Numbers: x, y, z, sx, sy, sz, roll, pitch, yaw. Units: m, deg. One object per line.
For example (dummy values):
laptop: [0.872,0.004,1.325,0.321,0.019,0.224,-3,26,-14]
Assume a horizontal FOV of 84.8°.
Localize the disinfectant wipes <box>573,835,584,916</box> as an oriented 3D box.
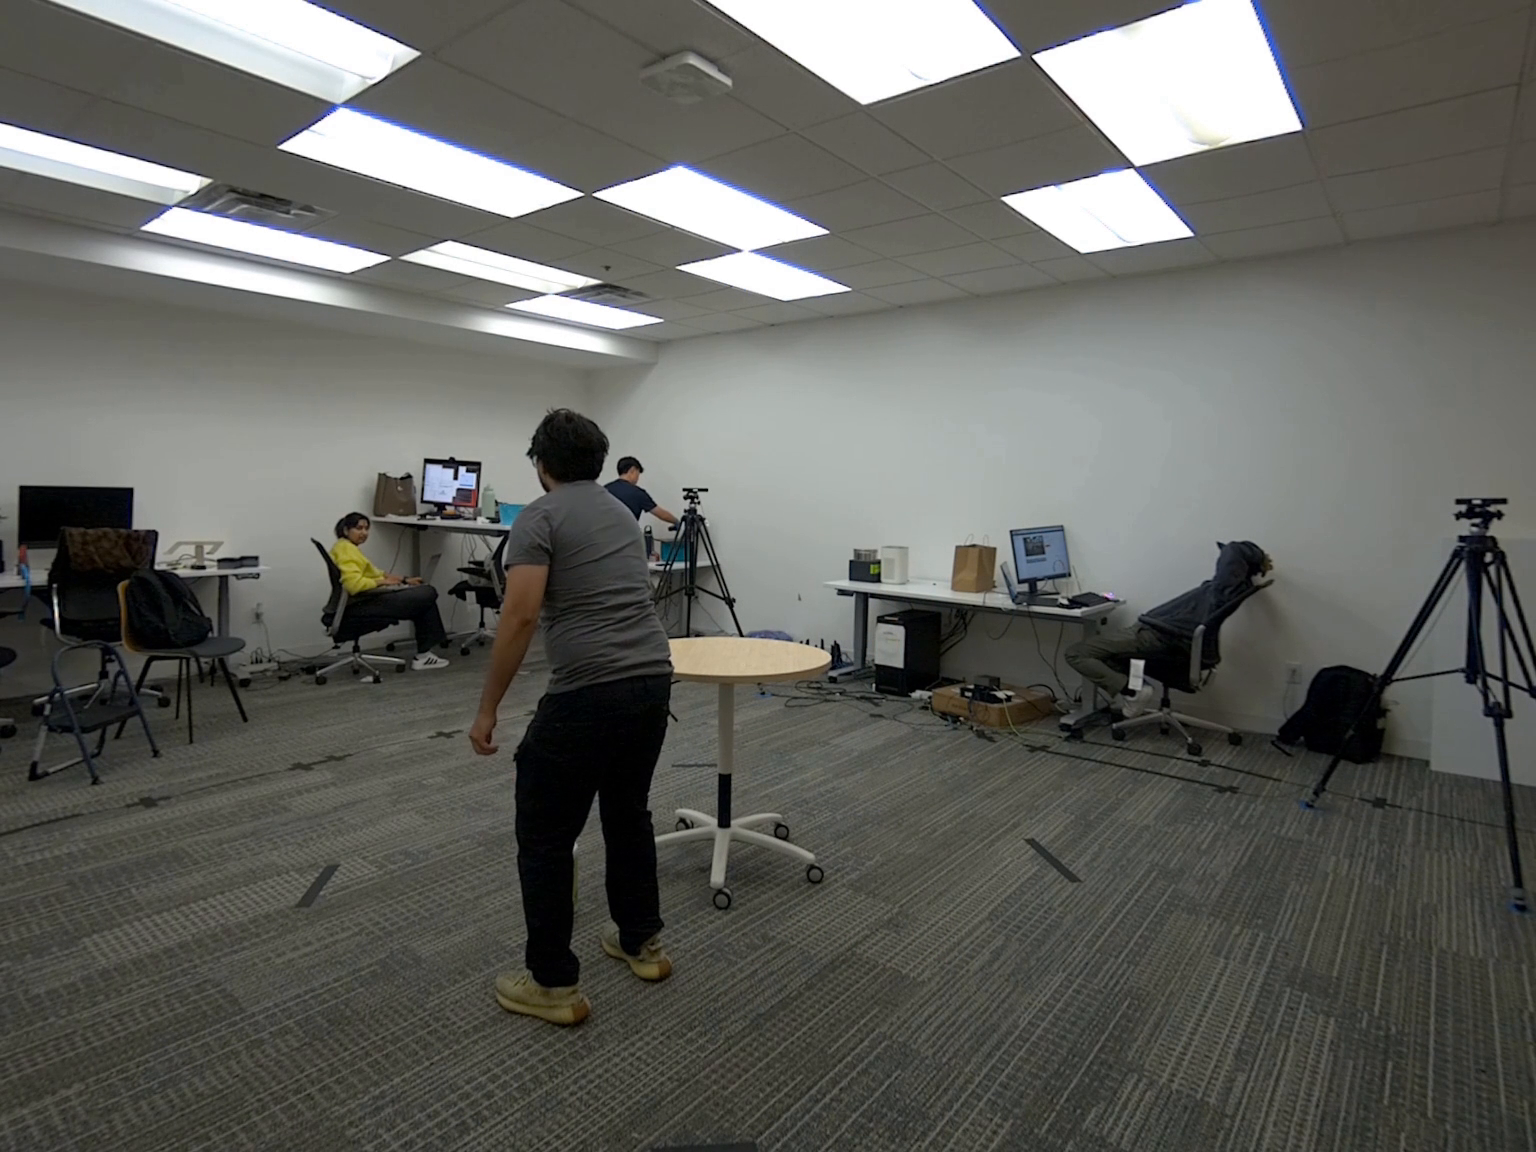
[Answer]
disinfectant wipes: [-0.681,0.984,2.778,0.118,0.217,0.118,2,2,-2]
